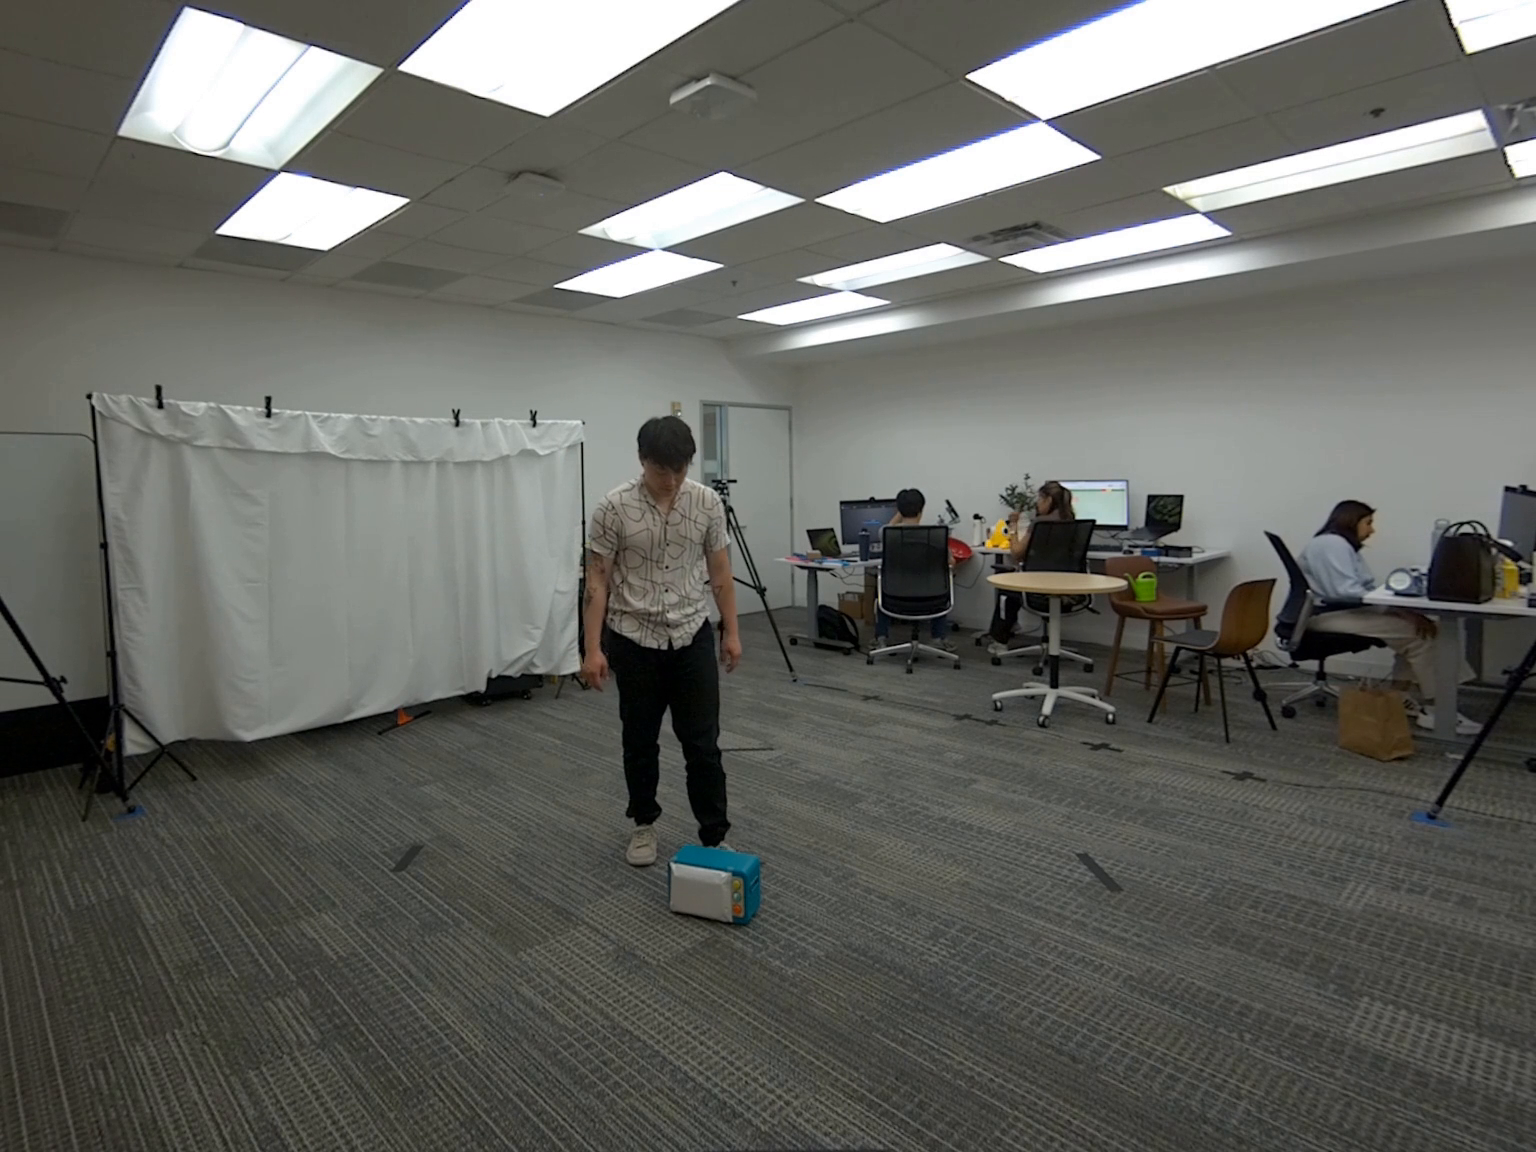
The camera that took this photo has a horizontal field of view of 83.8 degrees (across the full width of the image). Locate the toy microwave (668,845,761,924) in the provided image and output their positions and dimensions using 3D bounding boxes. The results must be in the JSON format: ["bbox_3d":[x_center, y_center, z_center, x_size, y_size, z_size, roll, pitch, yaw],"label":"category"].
[{"bbox_3d":[-0.174,0.996,2.765,0.292,0.183,0.150,1,5,22],"label":"toy microwave"}]
